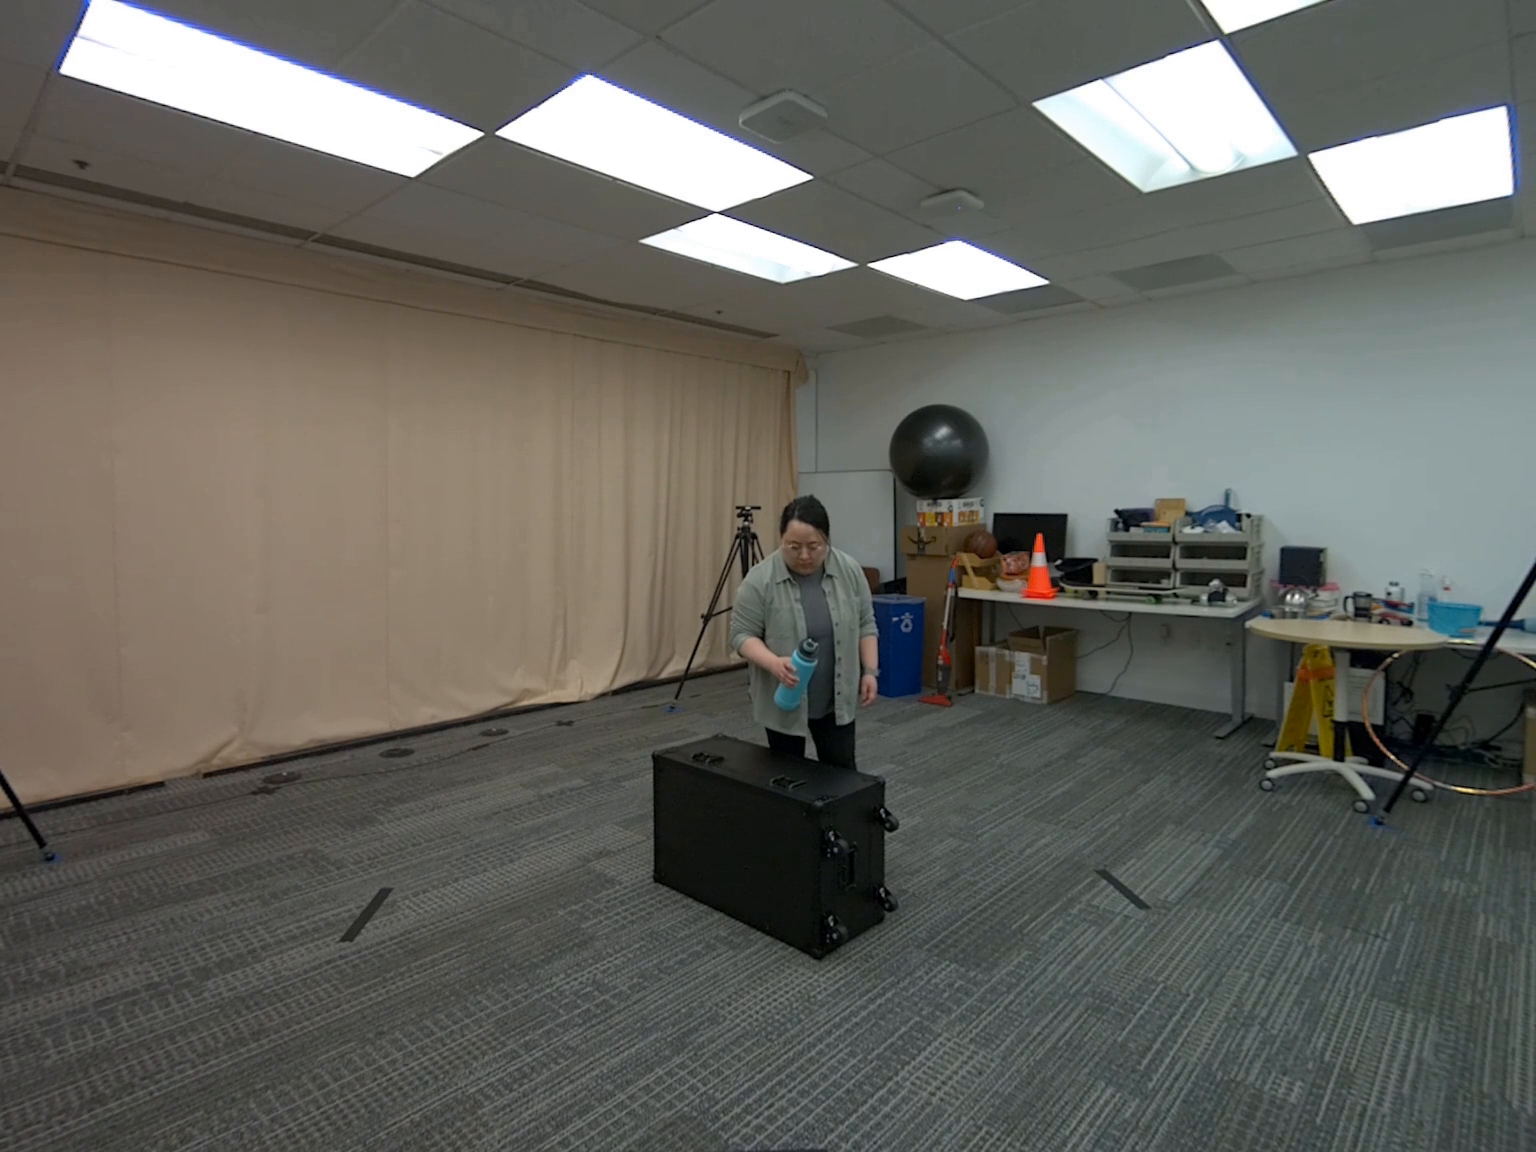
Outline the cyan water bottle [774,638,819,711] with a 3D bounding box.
[{"bbox_3d":[0.106,0.338,2.923,0.091,0.282,0.094,15,33,-12],"label":"cyan water bottle"}]
